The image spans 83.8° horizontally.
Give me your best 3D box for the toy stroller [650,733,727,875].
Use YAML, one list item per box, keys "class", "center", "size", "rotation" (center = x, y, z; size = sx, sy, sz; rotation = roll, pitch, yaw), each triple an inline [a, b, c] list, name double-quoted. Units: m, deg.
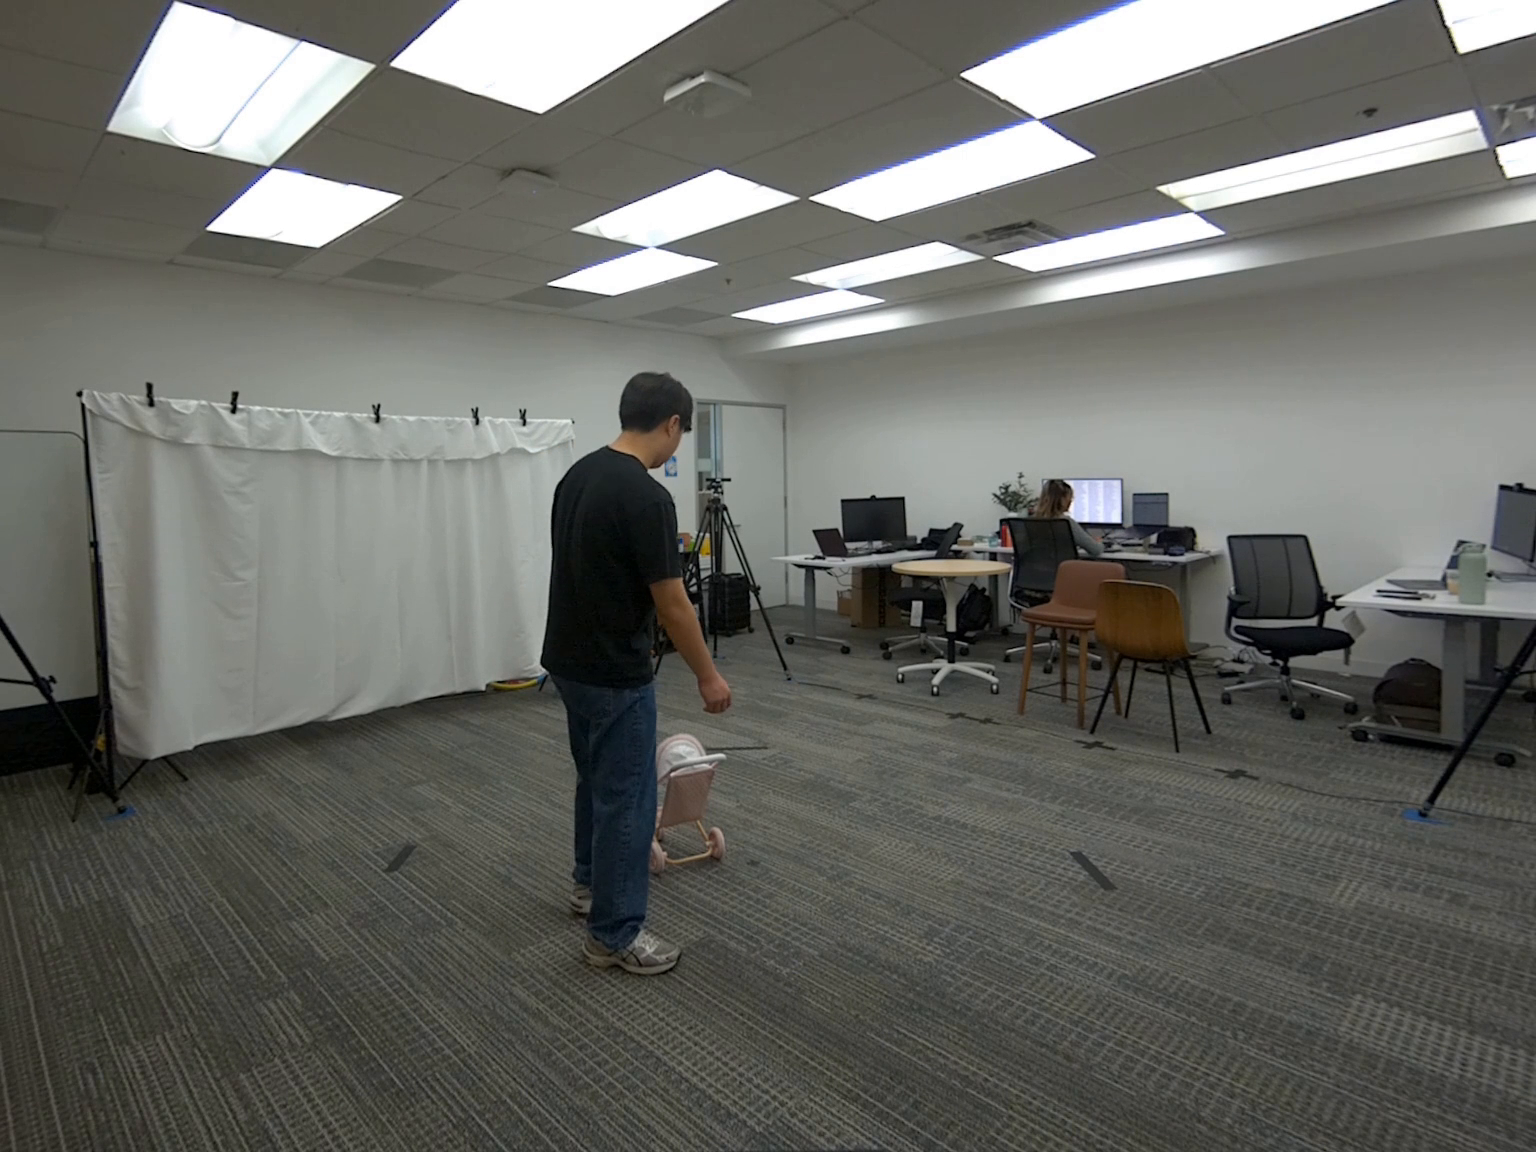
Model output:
- class: "toy stroller"
  center: [-0.326, 0.813, 3.145]
  size: [0.276, 0.527, 0.353]
  rotation: [-3, 20, -25]
